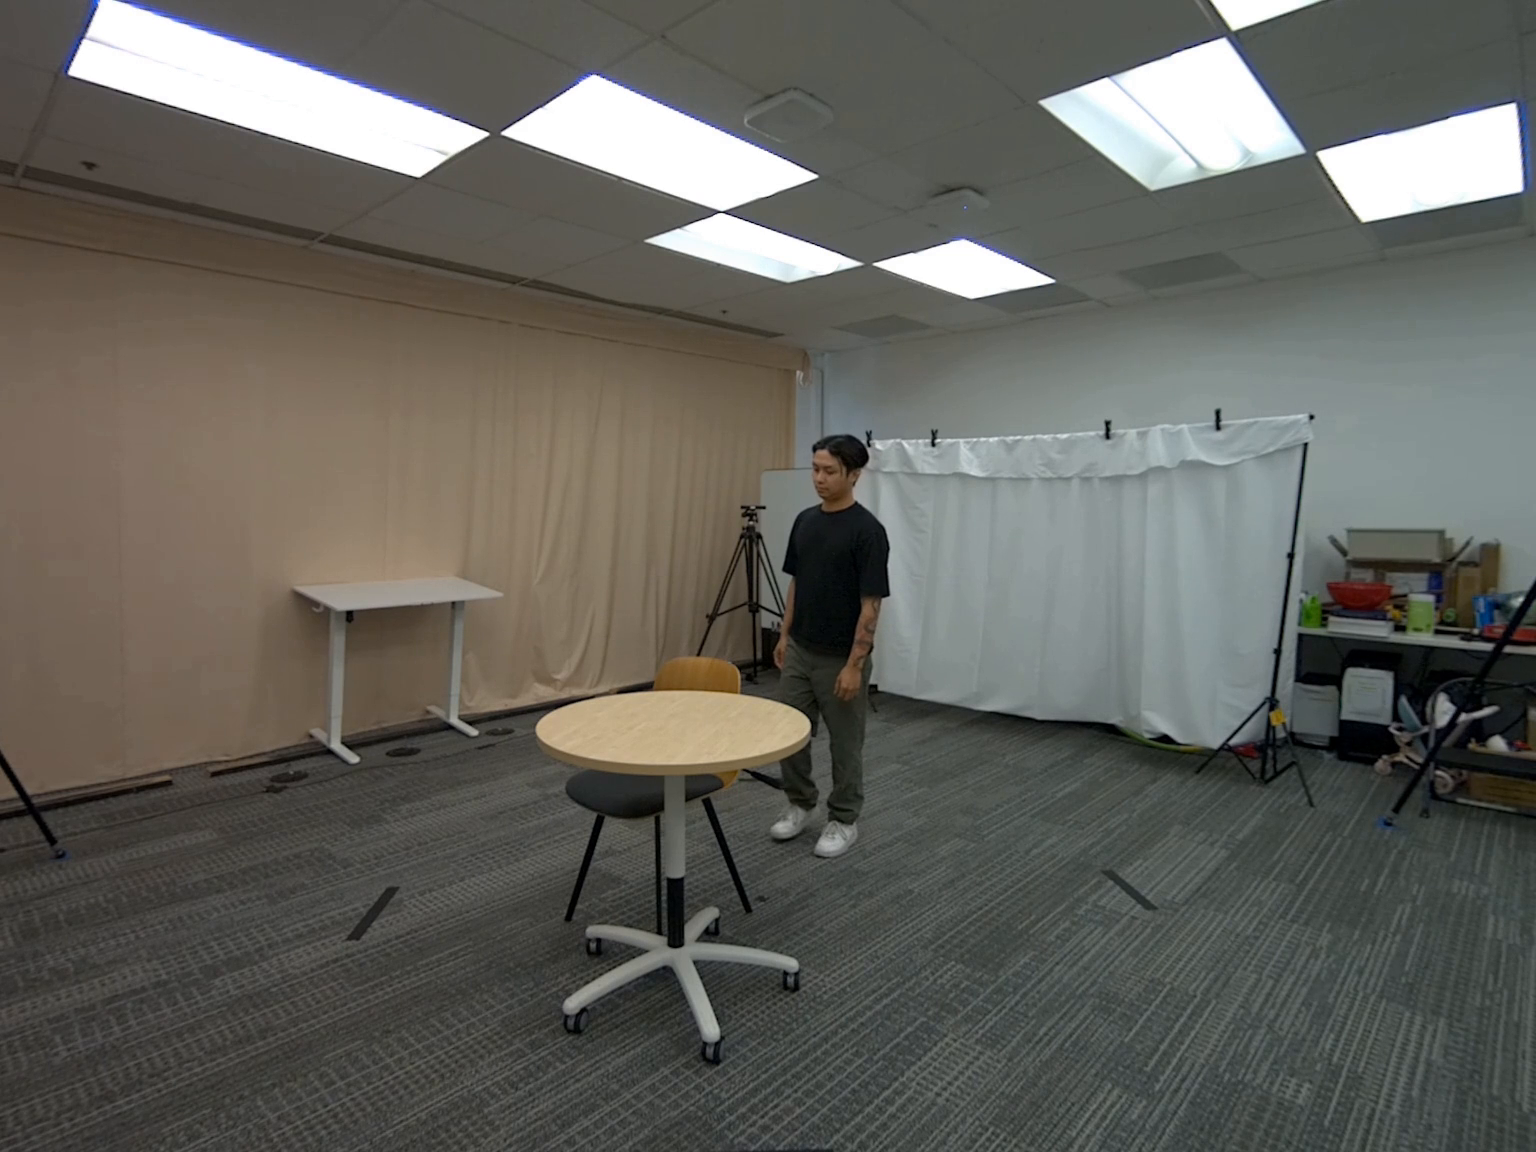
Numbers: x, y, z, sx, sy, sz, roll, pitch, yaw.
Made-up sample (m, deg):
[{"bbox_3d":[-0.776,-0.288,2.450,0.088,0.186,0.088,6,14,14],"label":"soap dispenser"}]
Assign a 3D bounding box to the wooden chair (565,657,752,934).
[{"bbox_3d":[-0.370,0.730,2.821,0.493,0.878,0.506,2,-1,38],"label":"wooden chair"}]
